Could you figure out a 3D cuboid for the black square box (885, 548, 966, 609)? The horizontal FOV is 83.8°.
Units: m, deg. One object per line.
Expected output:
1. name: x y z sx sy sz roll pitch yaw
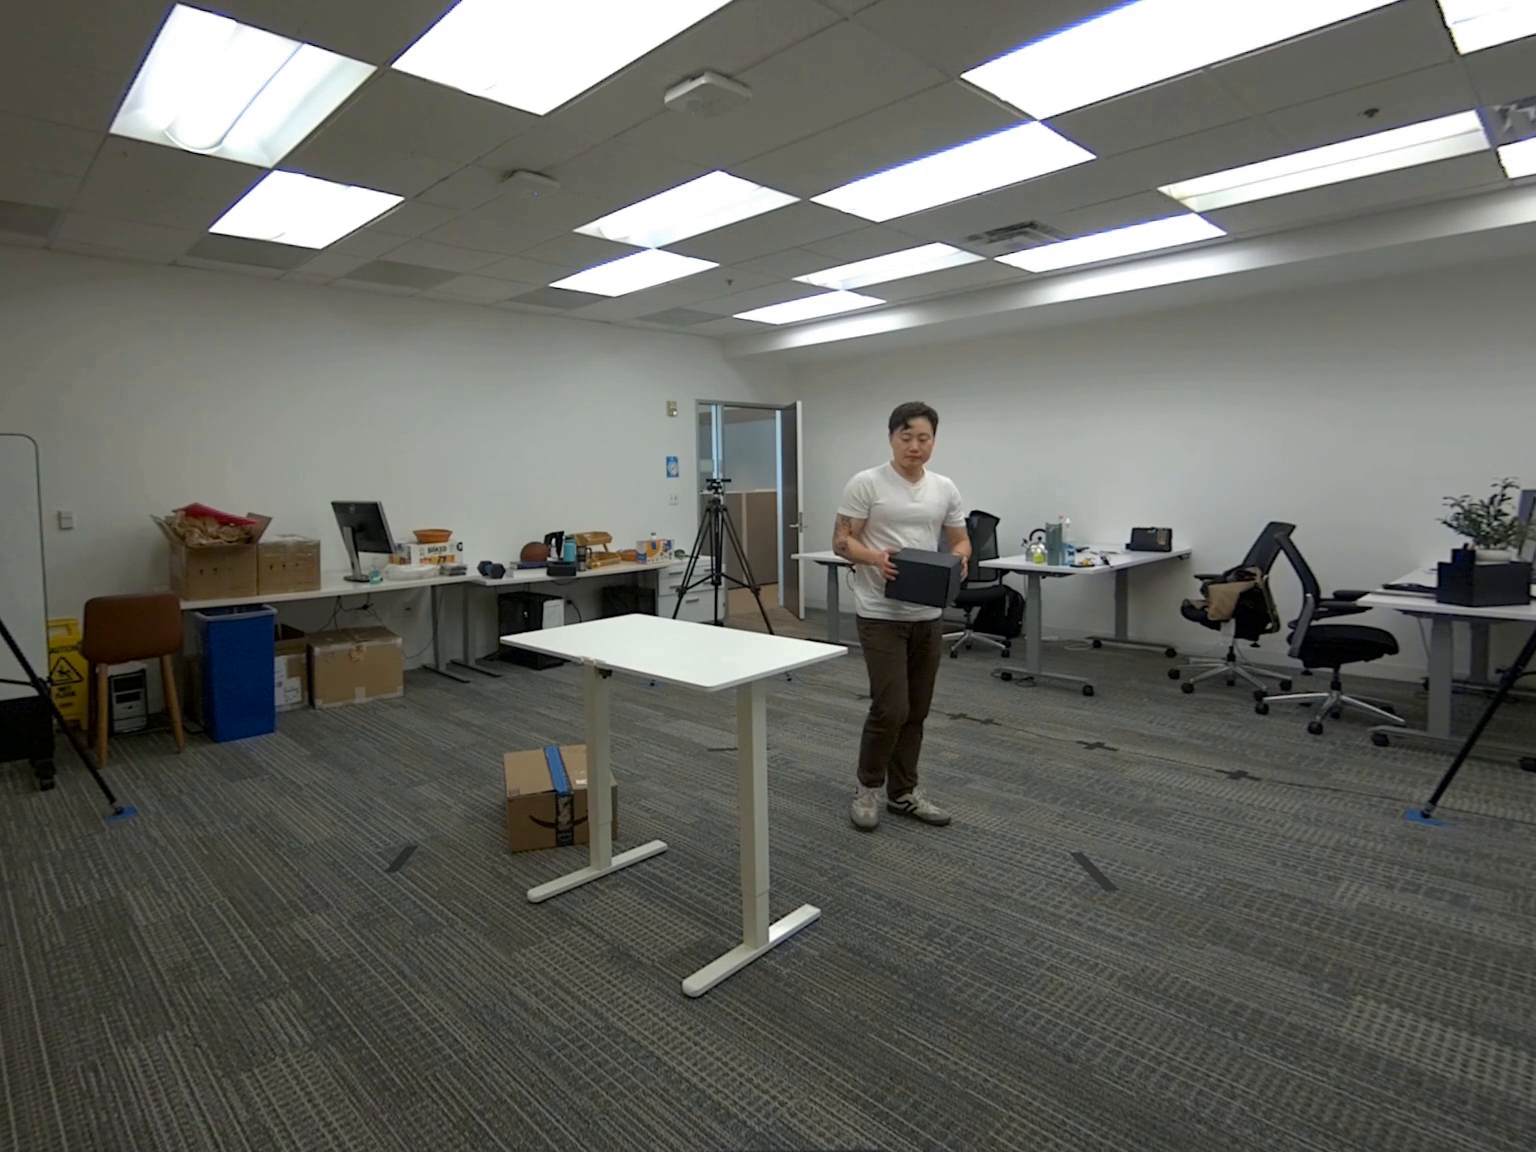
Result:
1. black square box: 0.588 -0.002 3.164 0.233 0.154 0.214 7 13 23
